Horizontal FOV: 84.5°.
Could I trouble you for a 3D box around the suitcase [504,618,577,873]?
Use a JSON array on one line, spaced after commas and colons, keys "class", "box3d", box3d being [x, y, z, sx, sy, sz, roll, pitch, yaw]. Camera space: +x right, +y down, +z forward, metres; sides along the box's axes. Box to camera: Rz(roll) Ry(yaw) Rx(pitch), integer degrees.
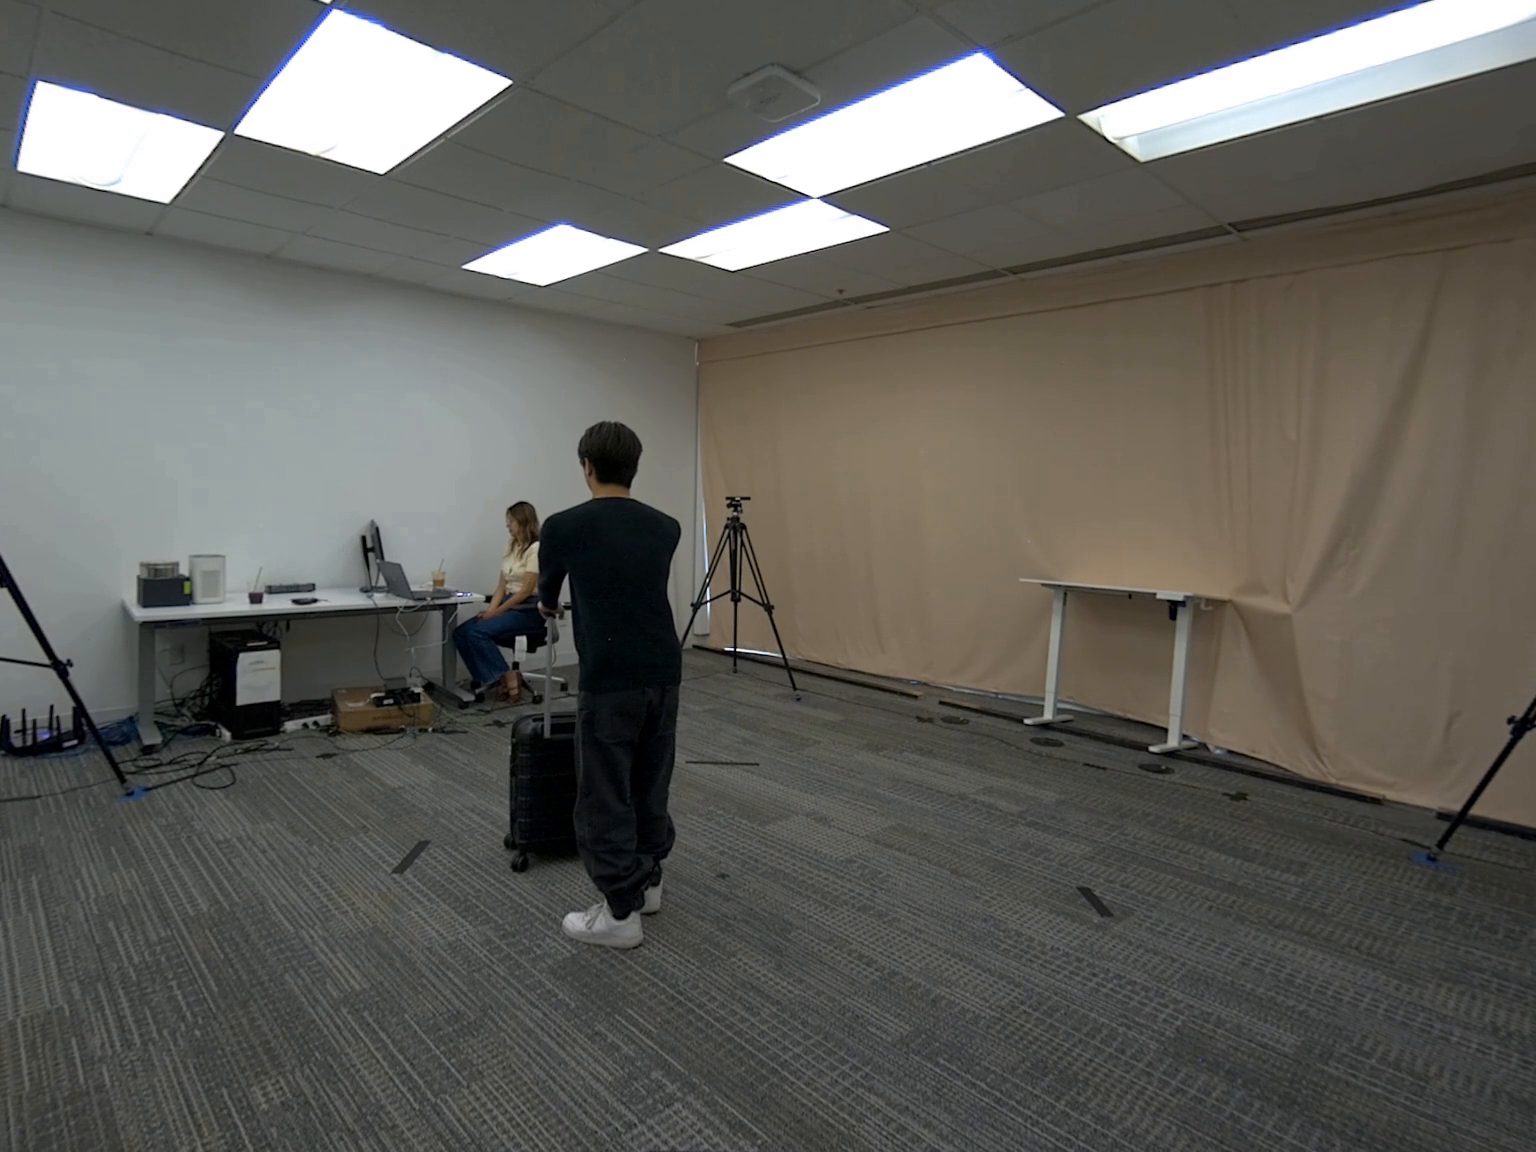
[{"class": "suitcase", "box3d": [-0.820, 0.602, 3.270, 0.379, 0.979, 0.260, 2, -1, -18]}]
